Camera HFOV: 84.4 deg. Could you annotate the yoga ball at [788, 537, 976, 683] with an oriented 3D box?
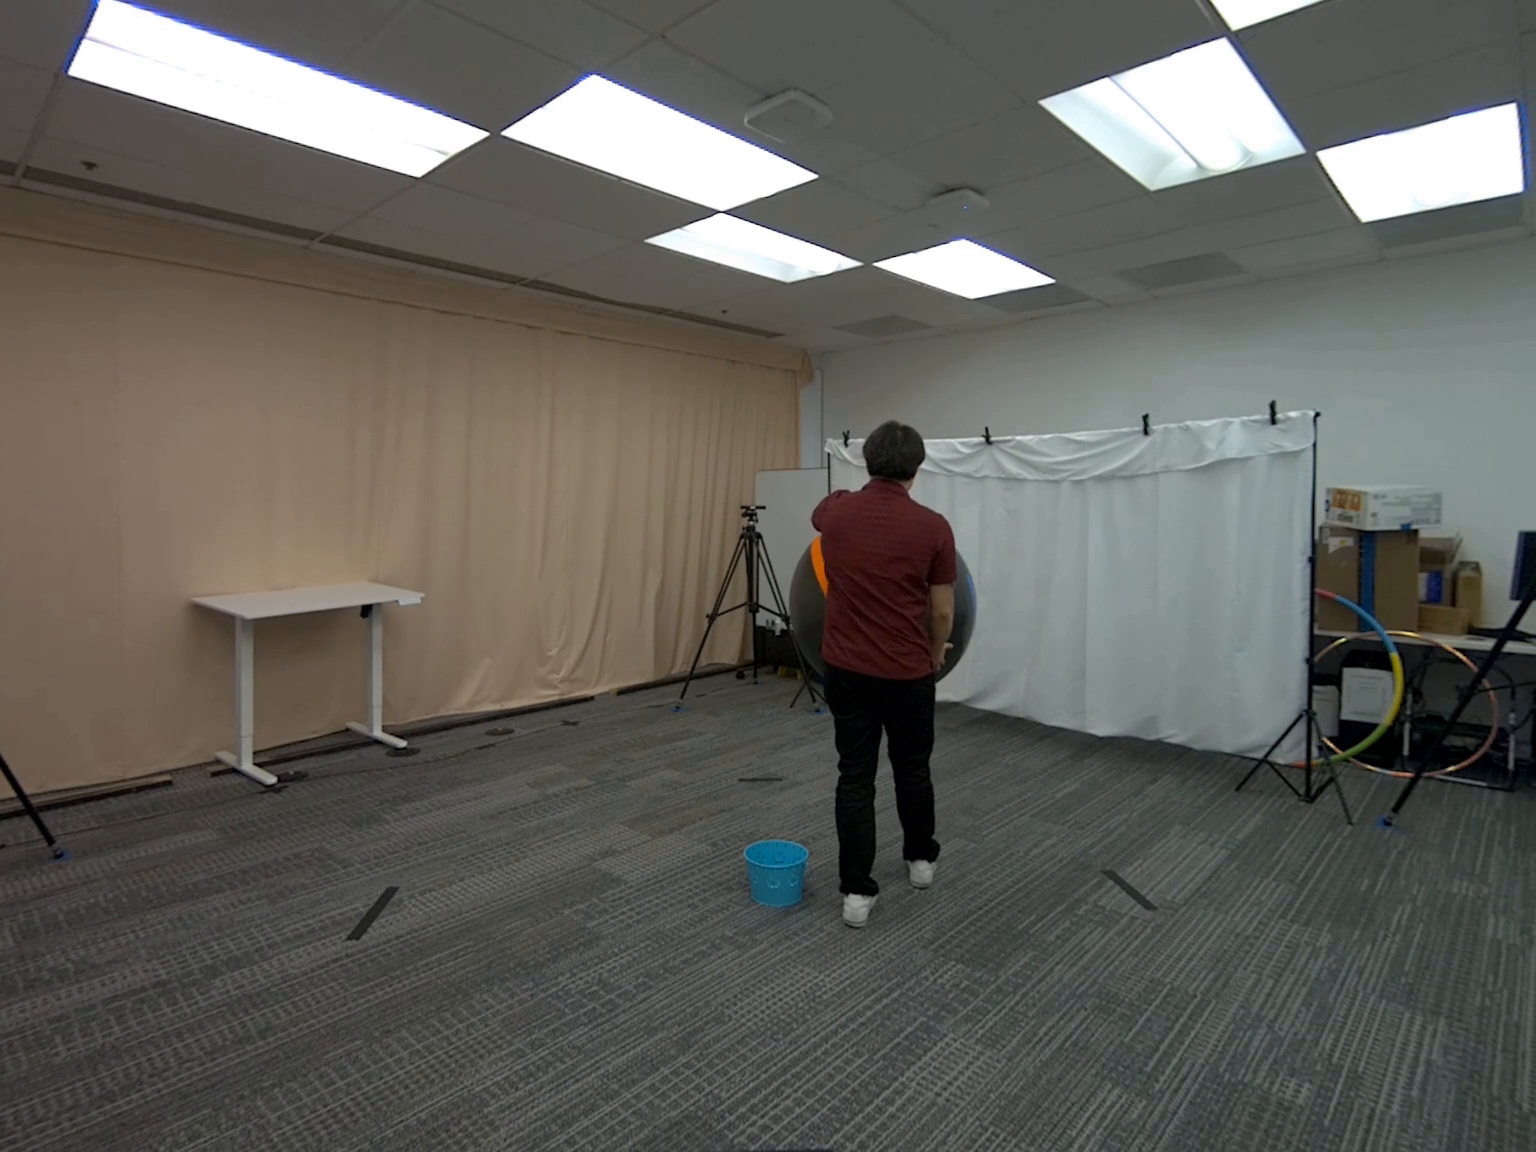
[{"bbox_3d":[0.478,0.122,3.477,0.757,0.756,0.761,0,4,-2],"label":"yoga ball"}]
